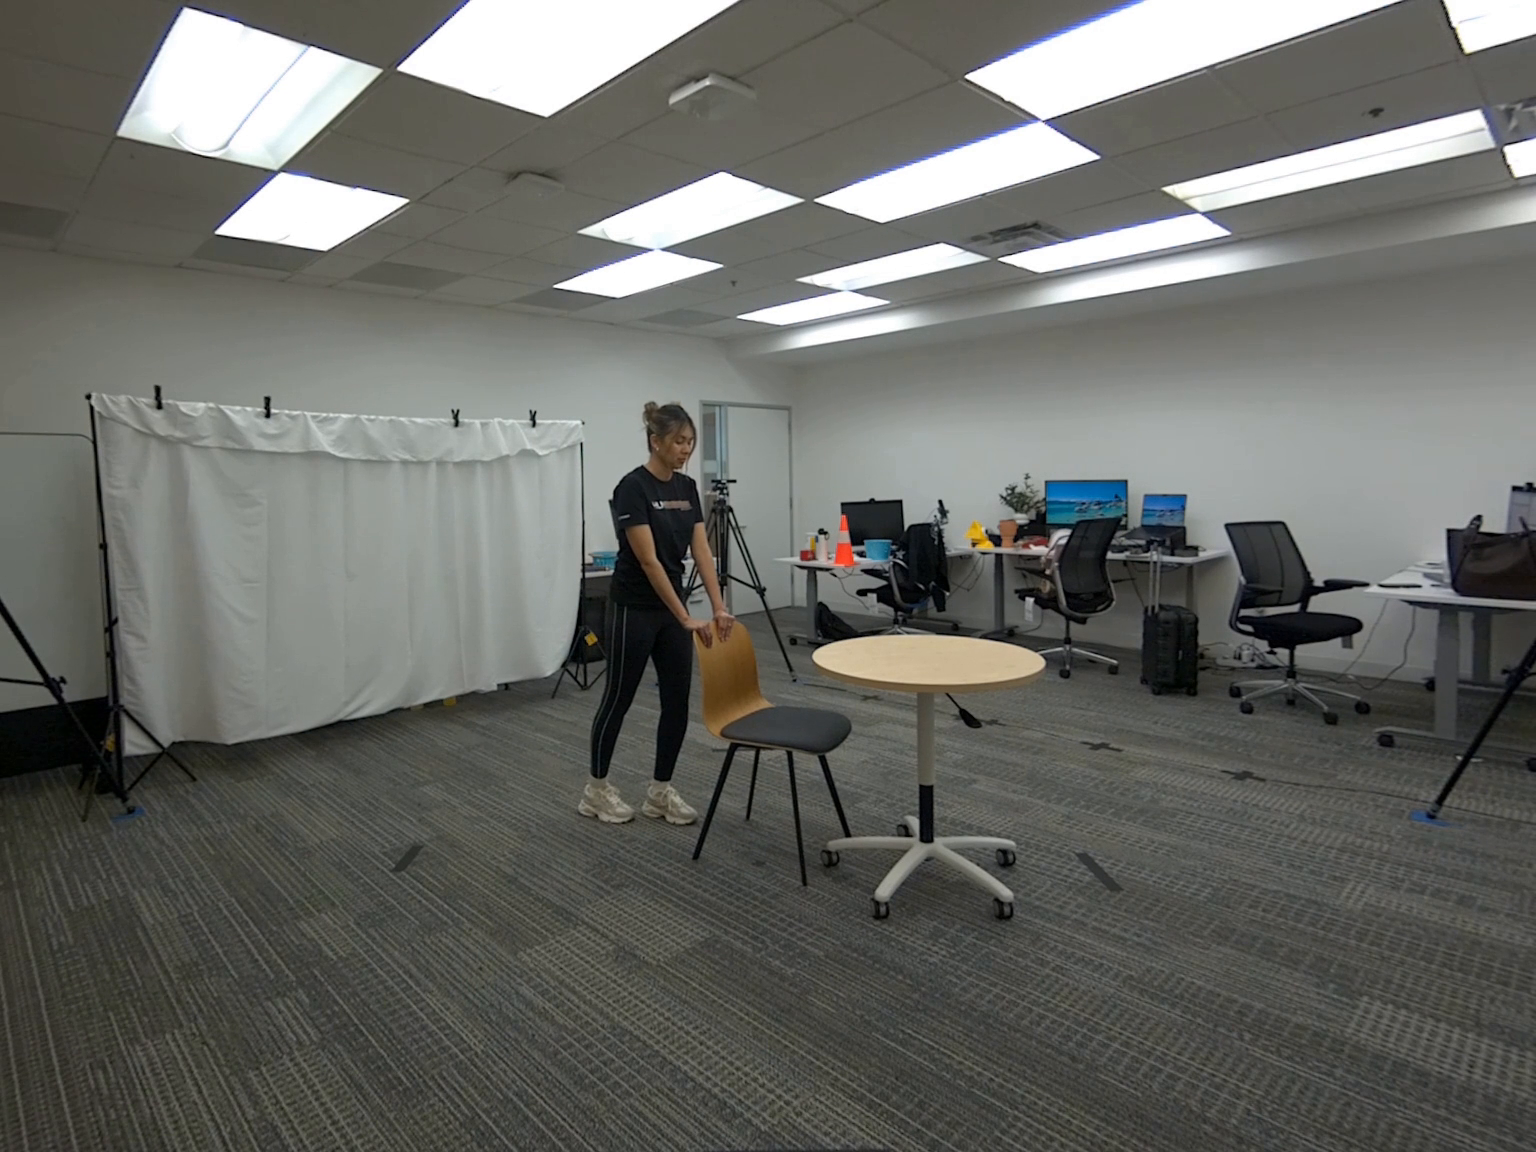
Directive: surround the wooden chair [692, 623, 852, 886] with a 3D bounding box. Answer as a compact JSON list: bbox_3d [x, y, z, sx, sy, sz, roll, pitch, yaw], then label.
[{"bbox_3d":[0.023,0.607,3.196,0.535,0.876,0.468,-4,2,28],"label":"wooden chair"}]
